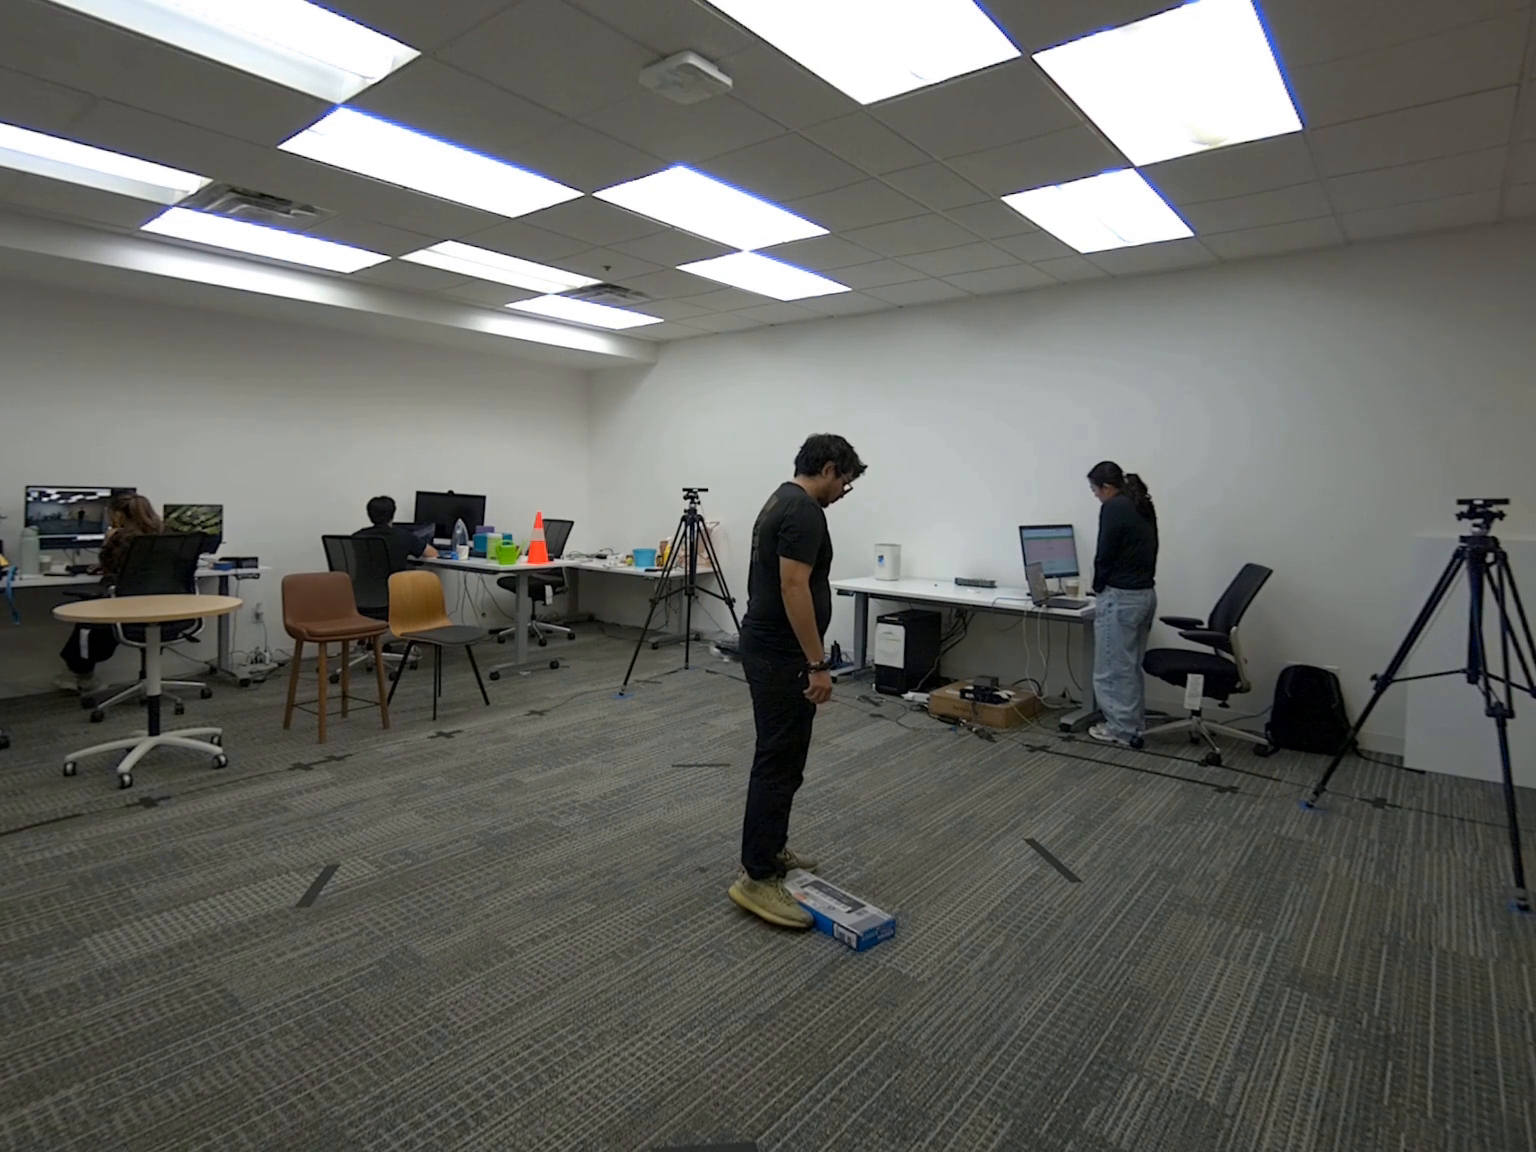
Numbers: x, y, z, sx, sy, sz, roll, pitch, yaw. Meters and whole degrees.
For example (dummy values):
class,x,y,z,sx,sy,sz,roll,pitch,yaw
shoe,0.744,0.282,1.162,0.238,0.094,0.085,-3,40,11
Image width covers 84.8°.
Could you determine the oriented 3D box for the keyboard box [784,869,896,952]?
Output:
class,x,y,z,sx,sy,sz,roll,pitch,yaw
keyboard box,0.193,1.077,2.790,0.171,0.059,0.452,-4,7,-40
